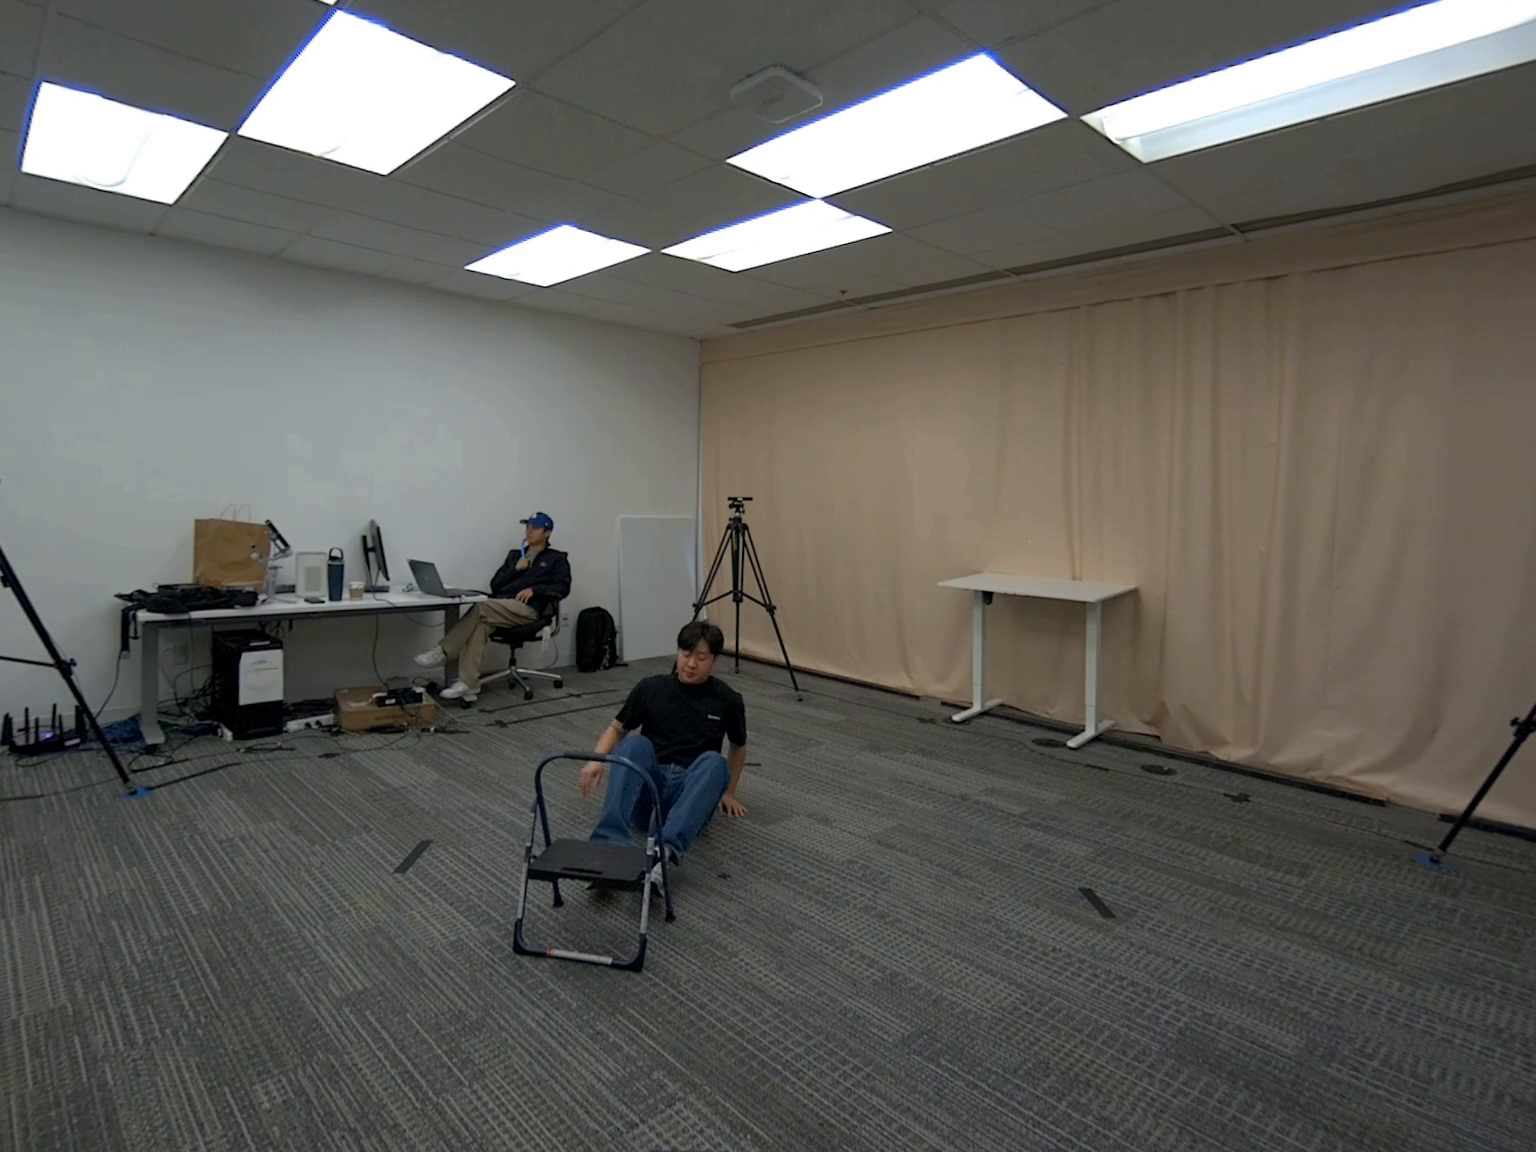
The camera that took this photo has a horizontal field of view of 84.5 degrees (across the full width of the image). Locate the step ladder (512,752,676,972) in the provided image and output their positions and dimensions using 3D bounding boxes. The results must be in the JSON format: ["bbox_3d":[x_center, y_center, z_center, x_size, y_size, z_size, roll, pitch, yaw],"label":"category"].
[{"bbox_3d":[-0.546,0.841,2.644,0.434,0.605,0.347,2,3,11],"label":"step ladder"}]
